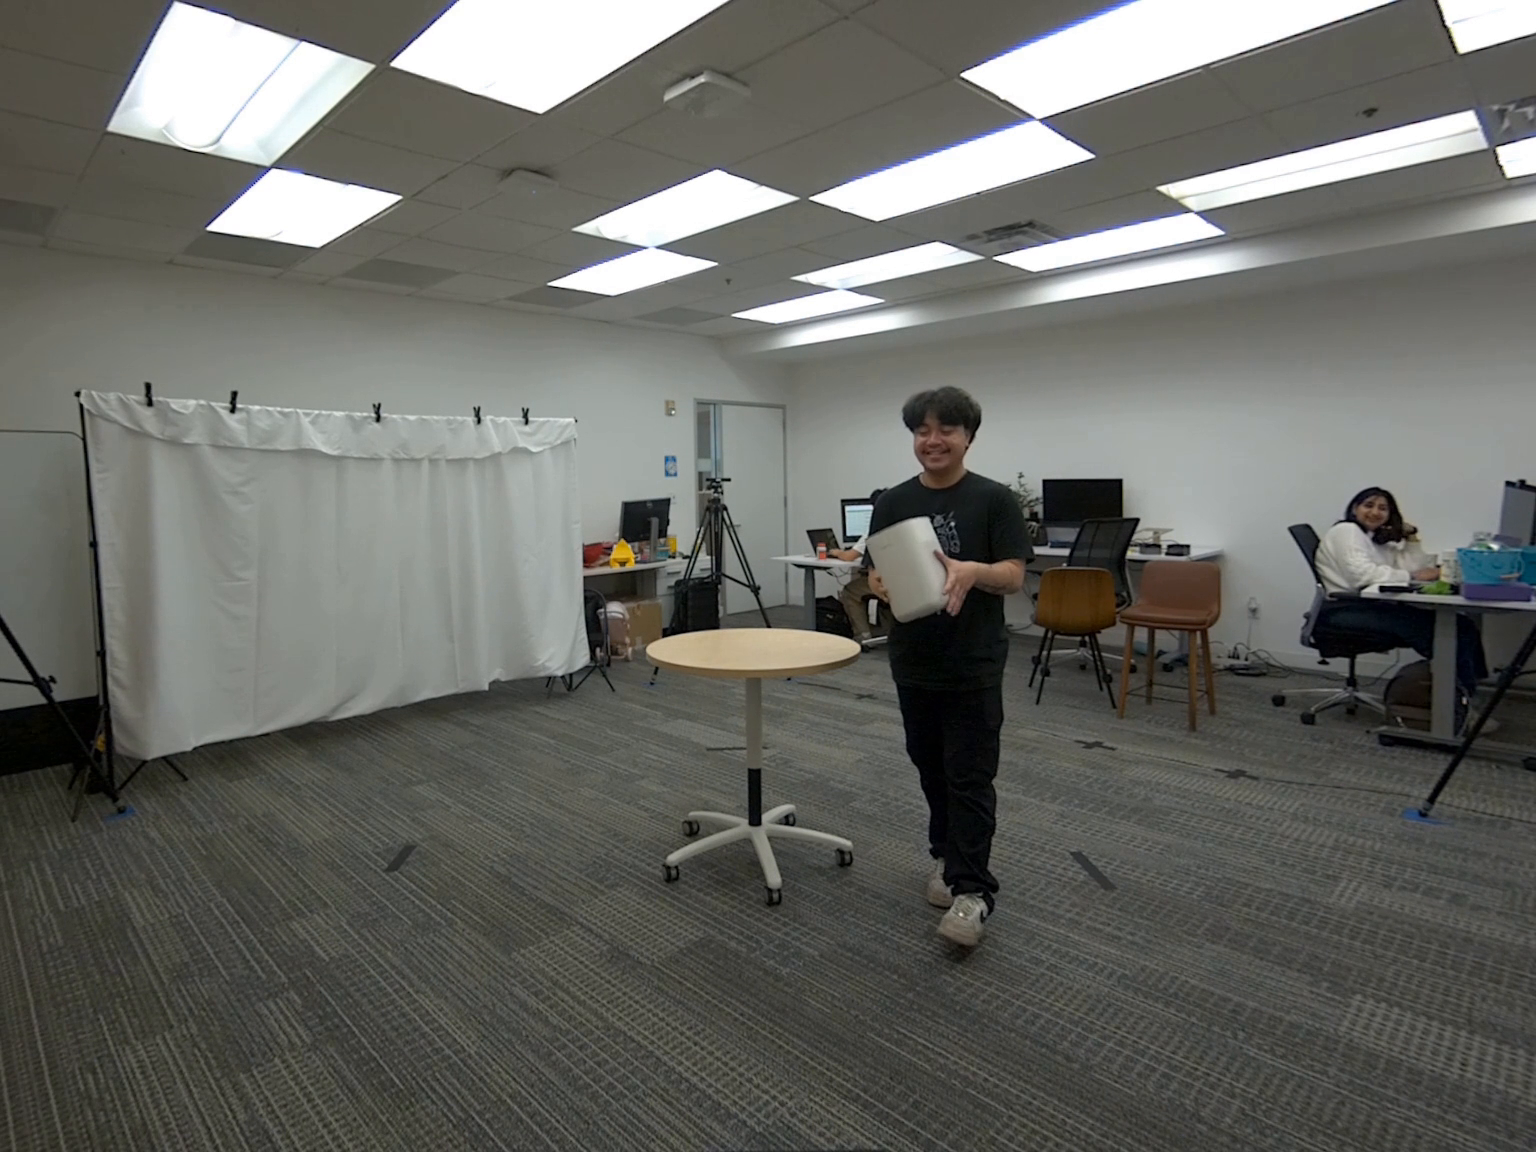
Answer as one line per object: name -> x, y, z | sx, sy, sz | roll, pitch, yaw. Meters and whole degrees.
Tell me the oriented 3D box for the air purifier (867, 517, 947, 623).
air purifier -> 0.412, -0.013, 2.462 | 0.173, 0.269, 0.167 | -28, -13, 38
